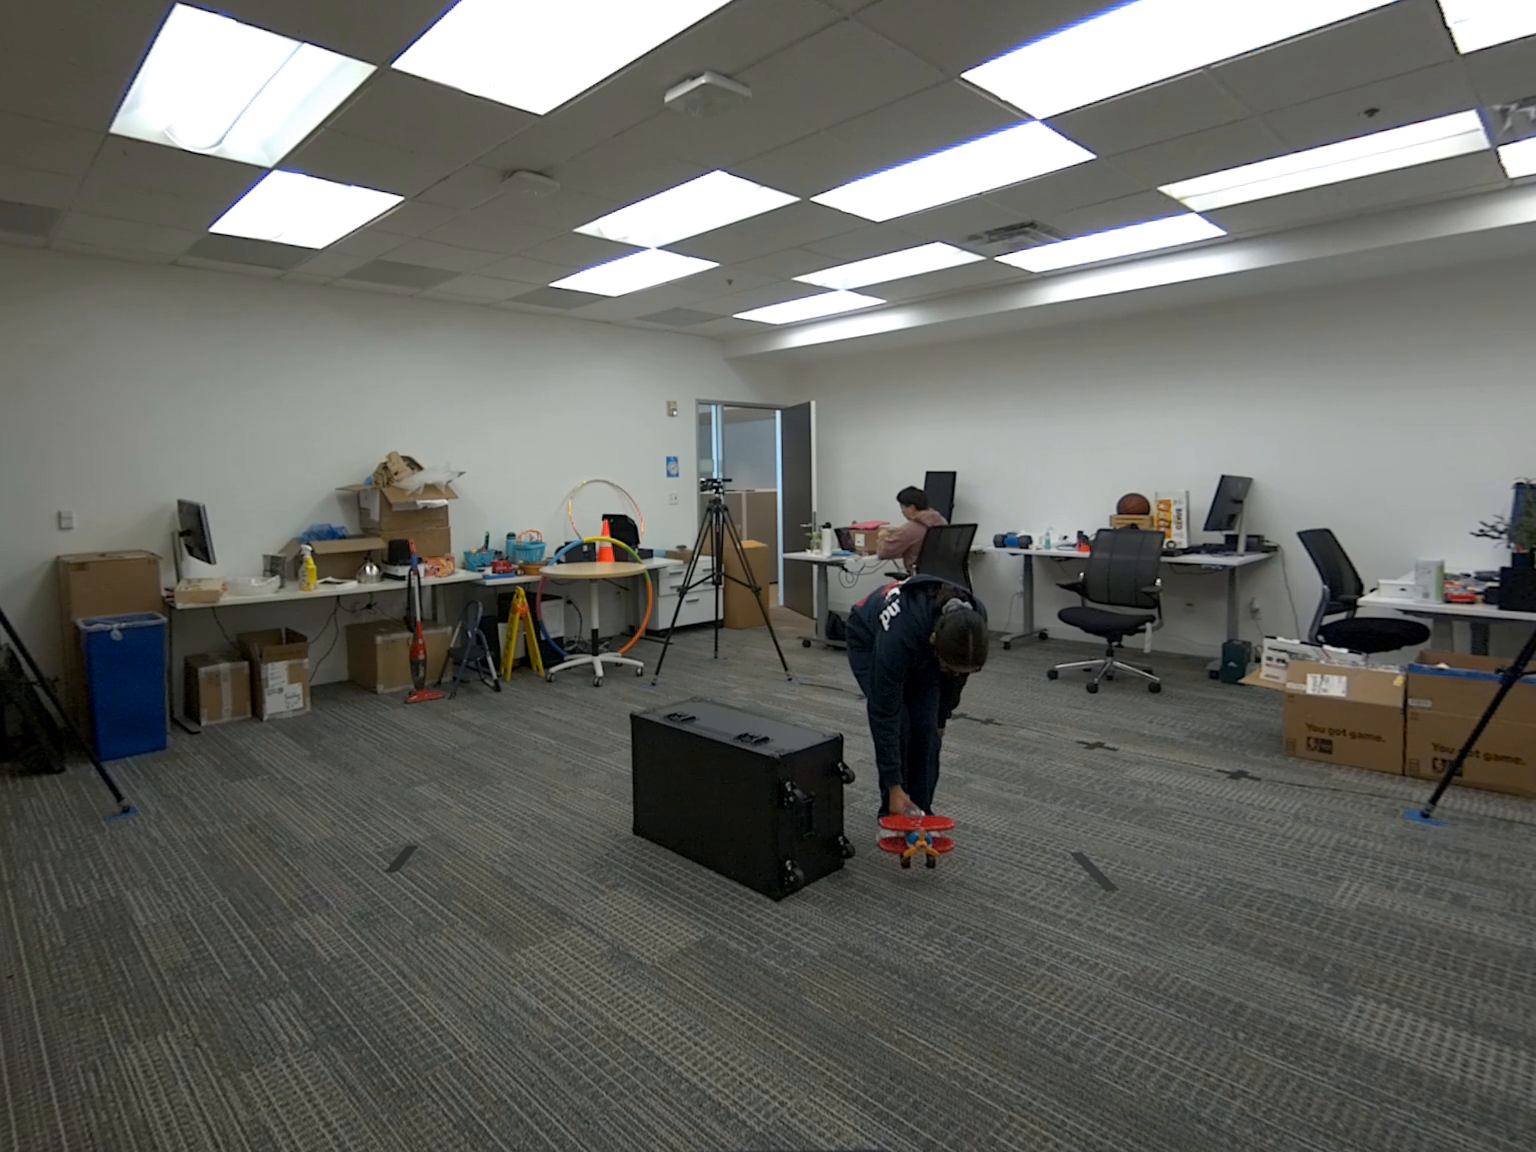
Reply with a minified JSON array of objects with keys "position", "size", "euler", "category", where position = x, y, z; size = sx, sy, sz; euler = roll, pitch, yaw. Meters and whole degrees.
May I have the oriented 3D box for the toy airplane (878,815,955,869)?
[{"position":[0.483,0.879,2.935],"size":[0.247,0.153,0.269],"euler":[-13,27,-25],"category":"toy airplane"}]
